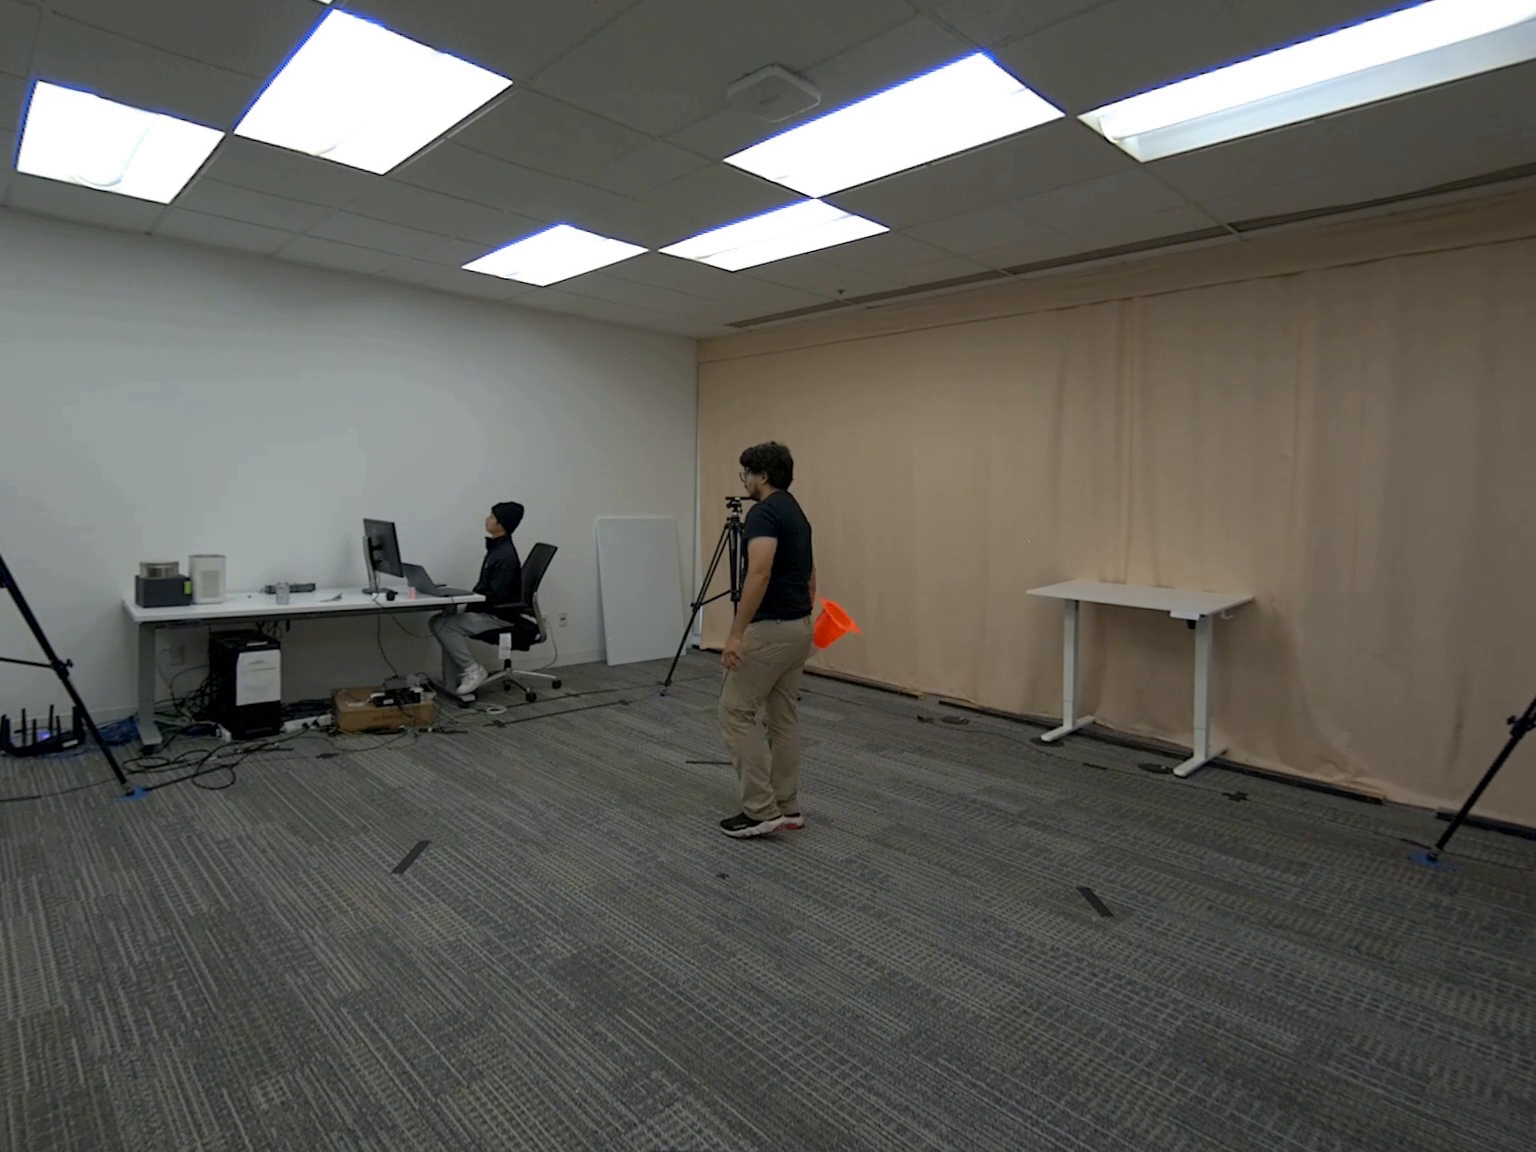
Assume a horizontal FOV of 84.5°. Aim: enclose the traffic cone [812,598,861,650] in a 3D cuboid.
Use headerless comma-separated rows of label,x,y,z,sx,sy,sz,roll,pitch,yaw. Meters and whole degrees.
traffic cone,0.184,0.307,3.885,0.199,0.383,0.209,19,31,-45
